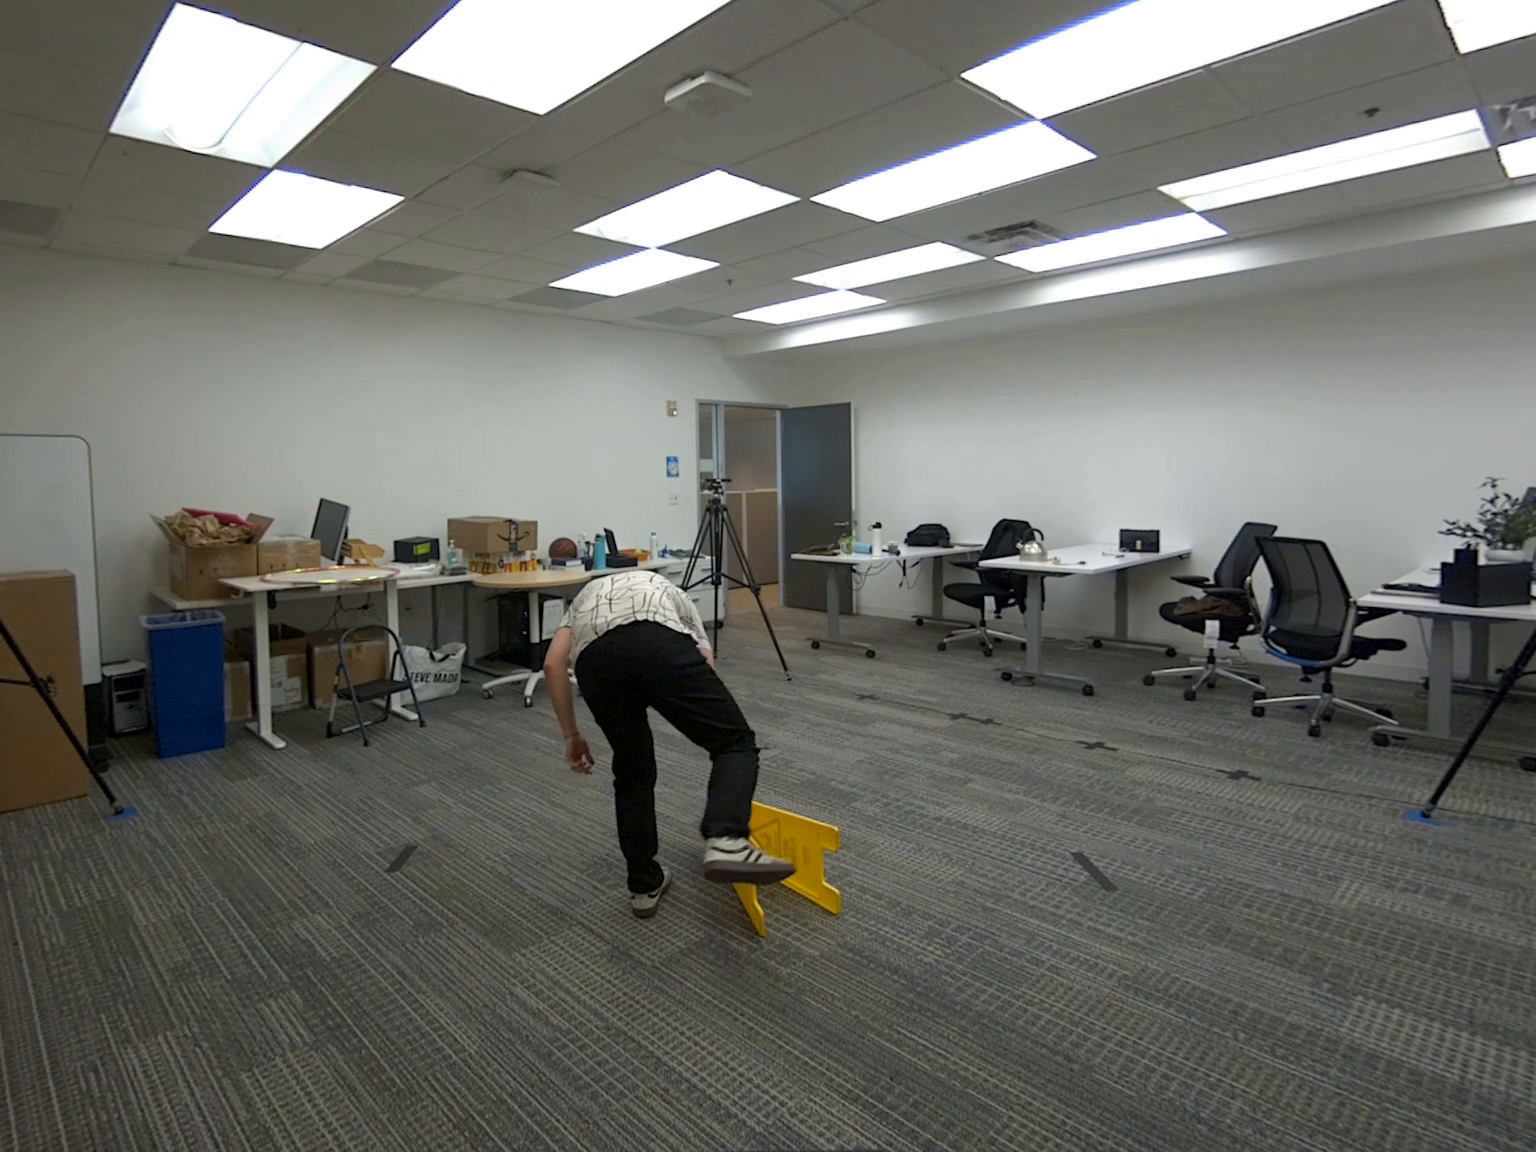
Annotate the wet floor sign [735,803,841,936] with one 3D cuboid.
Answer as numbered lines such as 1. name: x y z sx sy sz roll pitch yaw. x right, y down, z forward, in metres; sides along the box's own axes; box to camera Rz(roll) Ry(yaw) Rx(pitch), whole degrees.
1. wet floor sign: -0.056 0.930 2.947 0.283 0.281 0.663 -4 5 -29
